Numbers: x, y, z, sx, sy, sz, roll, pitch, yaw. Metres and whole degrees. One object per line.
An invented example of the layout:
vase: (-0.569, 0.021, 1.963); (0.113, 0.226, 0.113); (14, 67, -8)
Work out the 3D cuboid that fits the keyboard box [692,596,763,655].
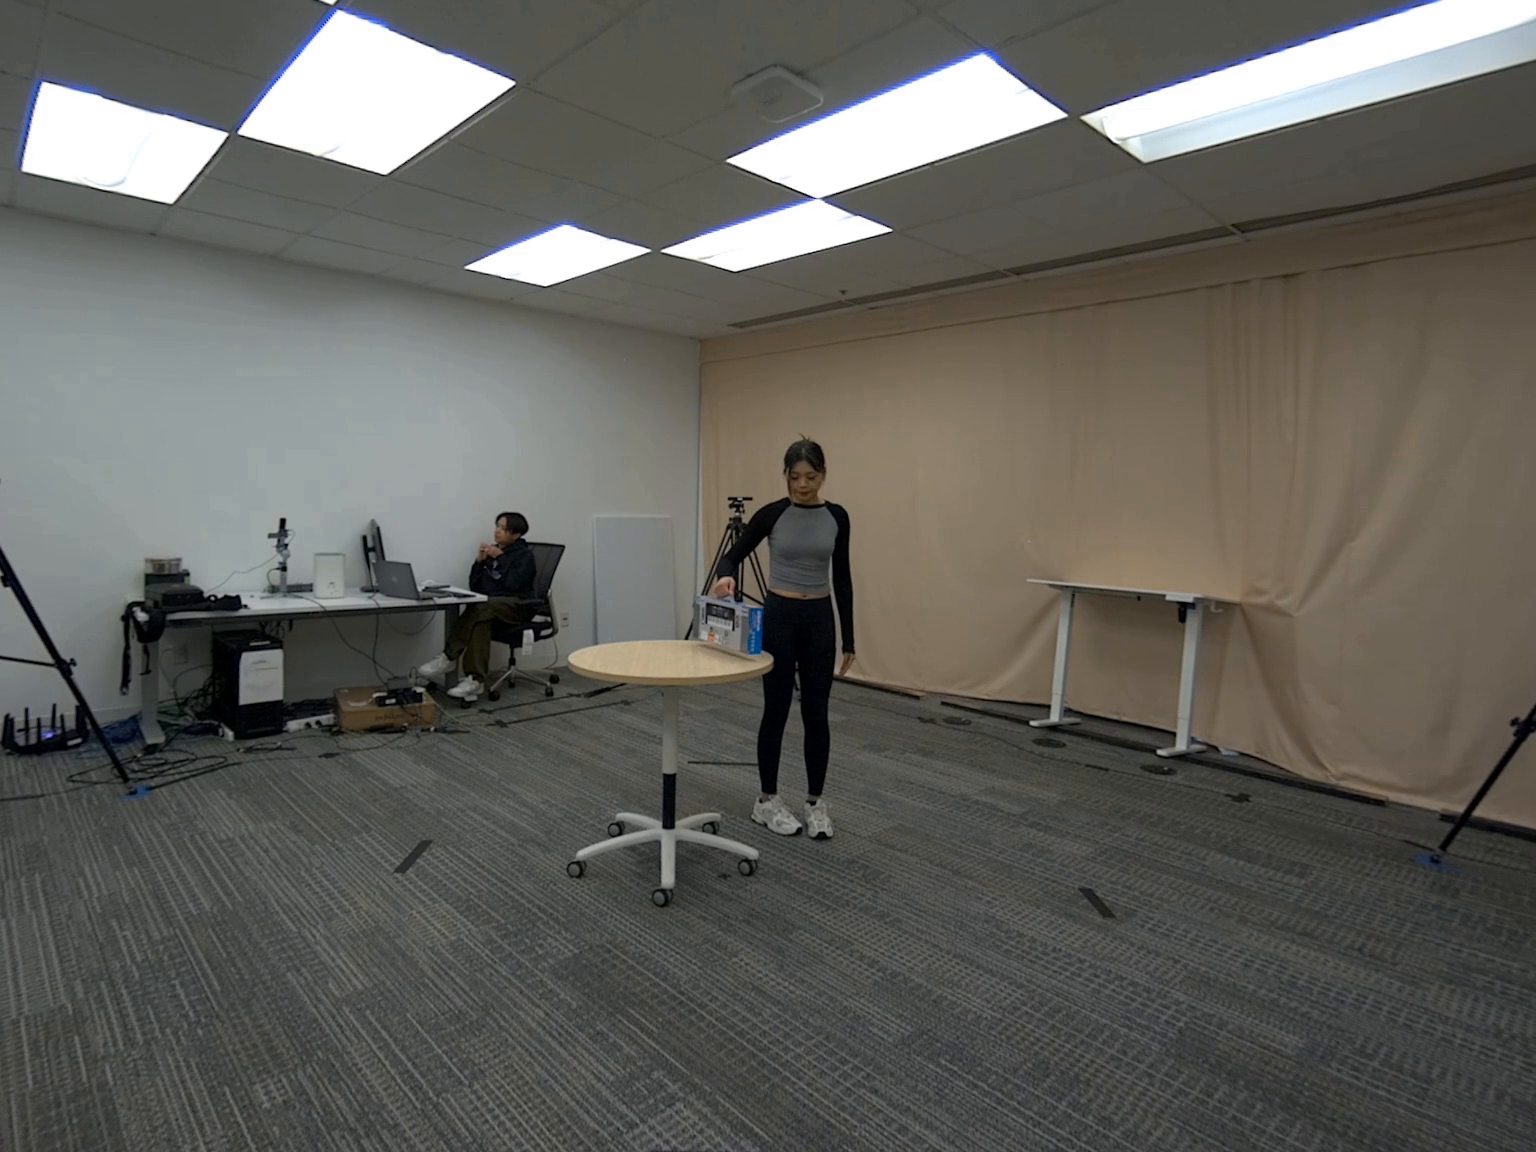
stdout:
keyboard box: (-0.169, 0.187, 3.256); (0.058, 0.176, 0.447); (2, 3, -32)
